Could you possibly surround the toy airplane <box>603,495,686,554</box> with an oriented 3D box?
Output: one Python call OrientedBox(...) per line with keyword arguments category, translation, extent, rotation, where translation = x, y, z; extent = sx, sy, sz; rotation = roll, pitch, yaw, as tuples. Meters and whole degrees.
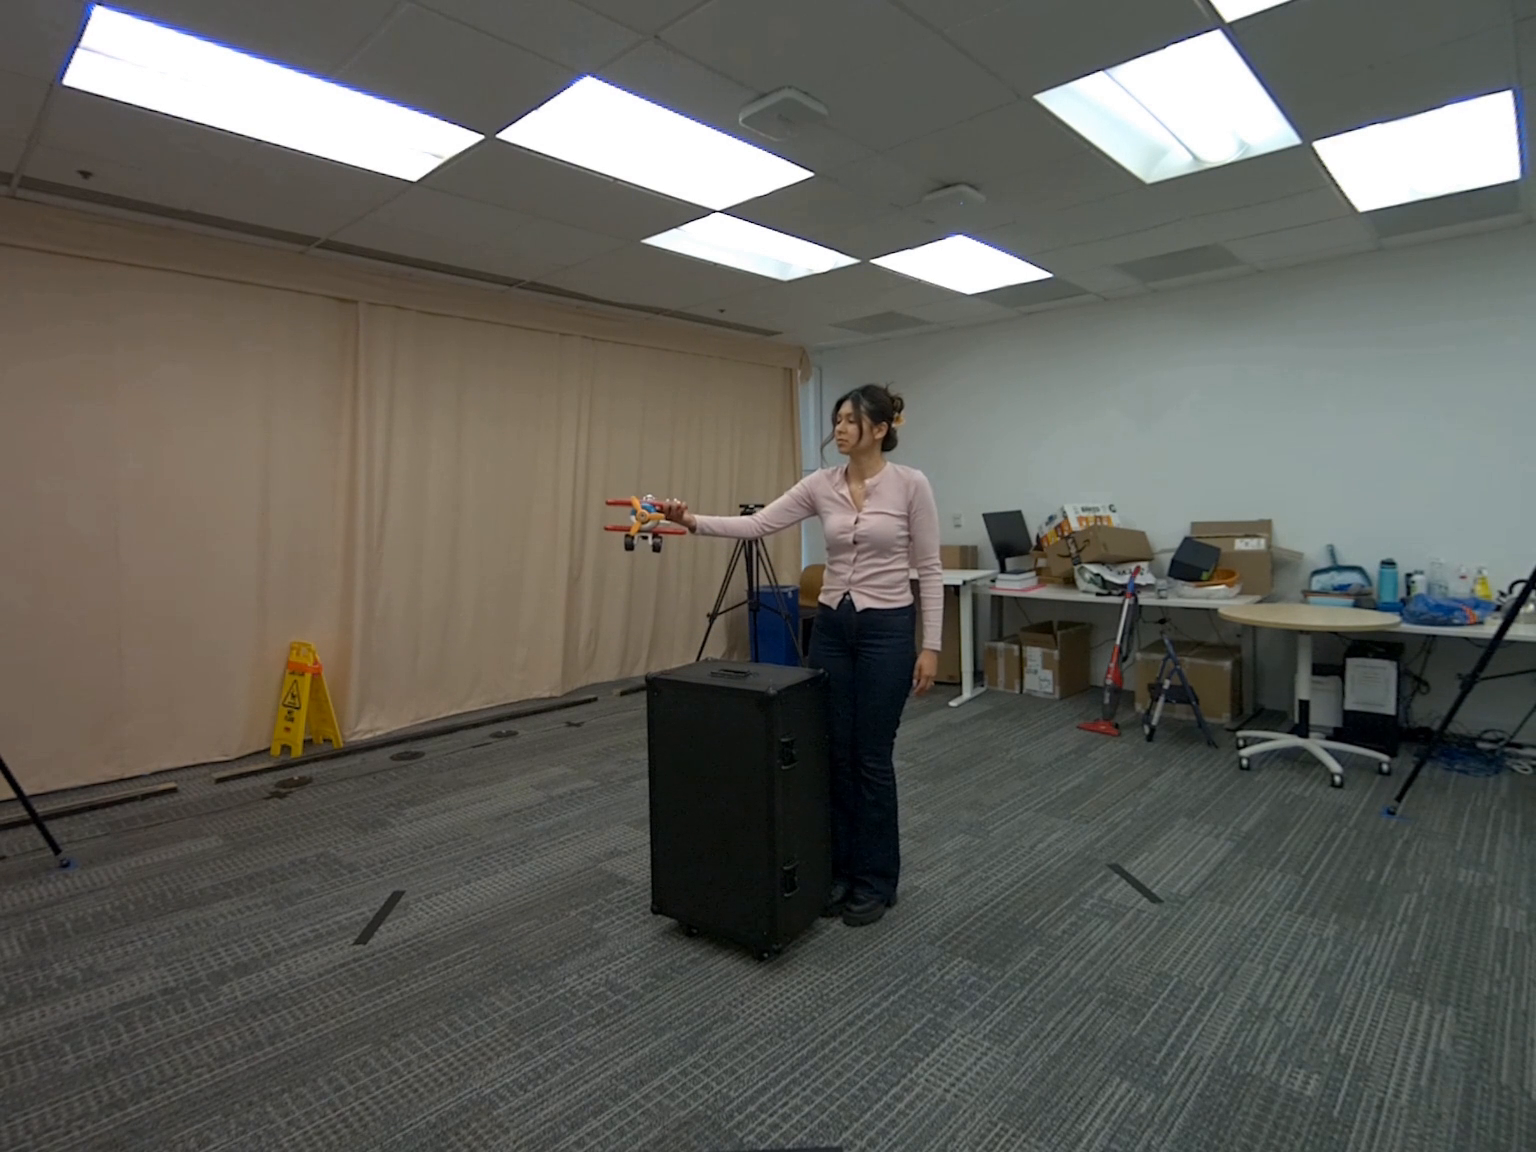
OrientedBox(category="toy airplane", translation=(-0.403, -0.165, 2.634), extent=(0.244, 0.155, 0.268), rotation=(-3, 14, -33))
